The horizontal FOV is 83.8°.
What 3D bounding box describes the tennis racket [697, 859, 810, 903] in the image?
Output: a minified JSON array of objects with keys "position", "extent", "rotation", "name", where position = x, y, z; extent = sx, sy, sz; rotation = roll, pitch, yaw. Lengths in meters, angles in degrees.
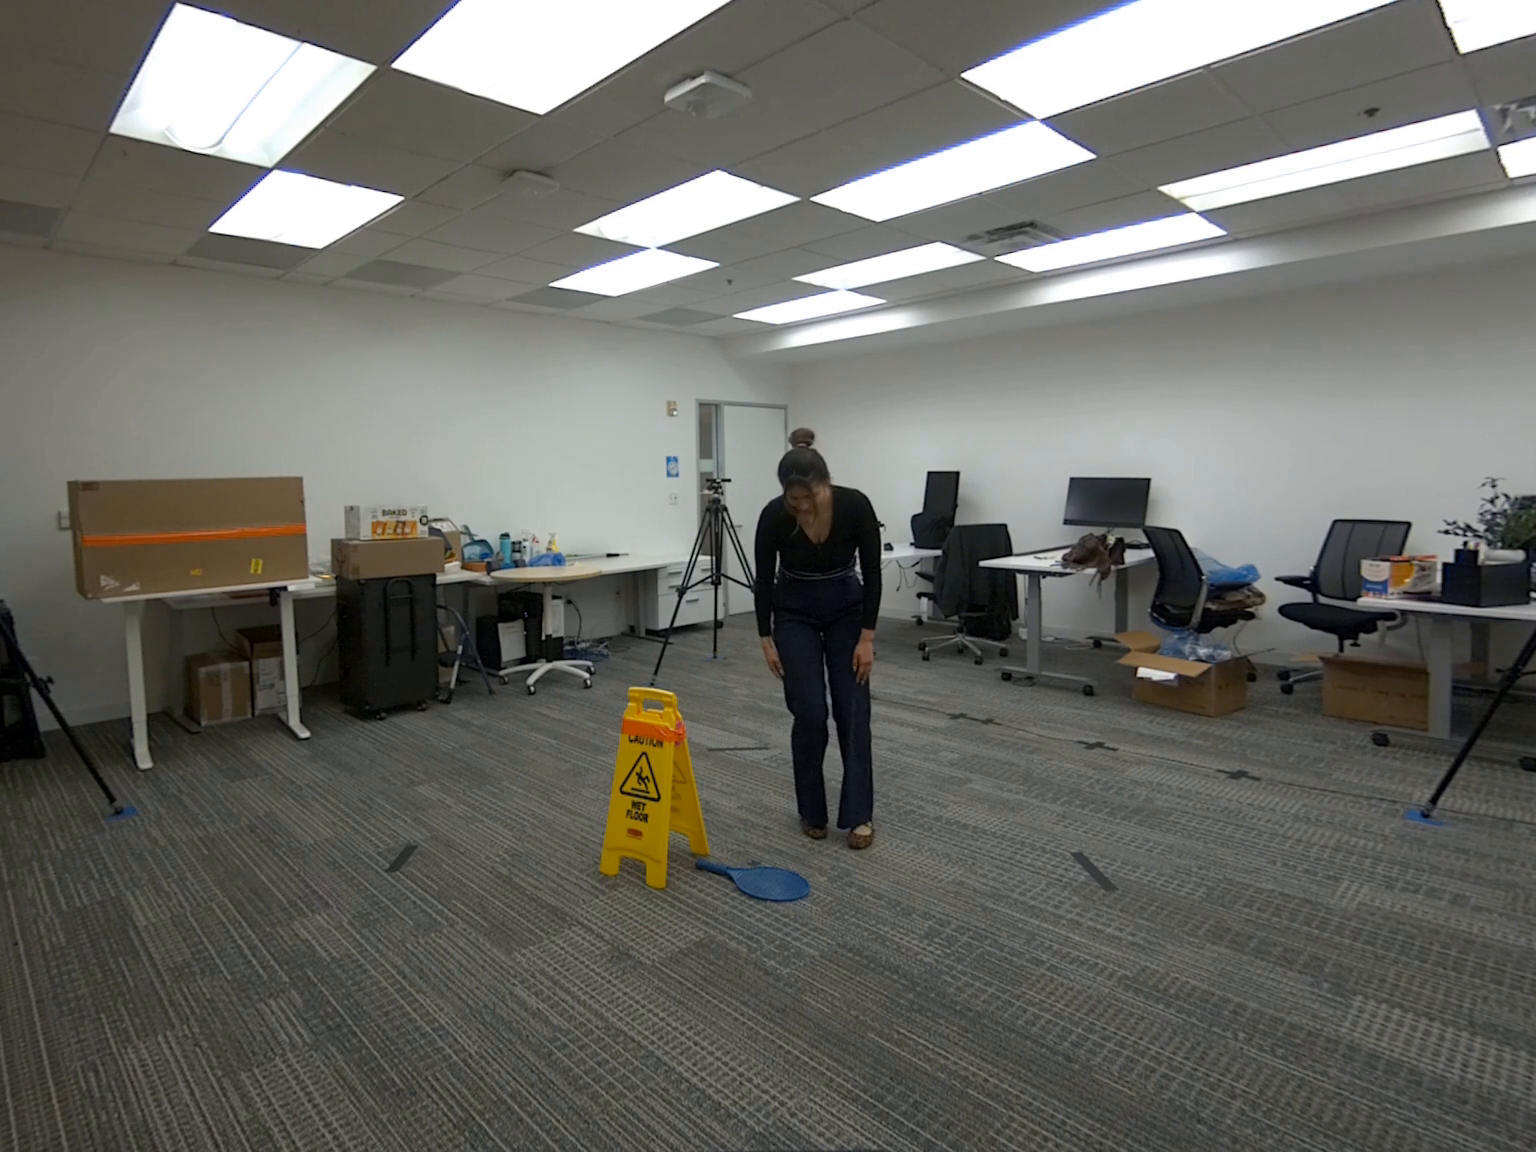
[{"position":[-0.058,1.042,2.963],"extent":[0.445,0.031,0.209],"rotation":[5,8,30],"name":"tennis racket"}]
